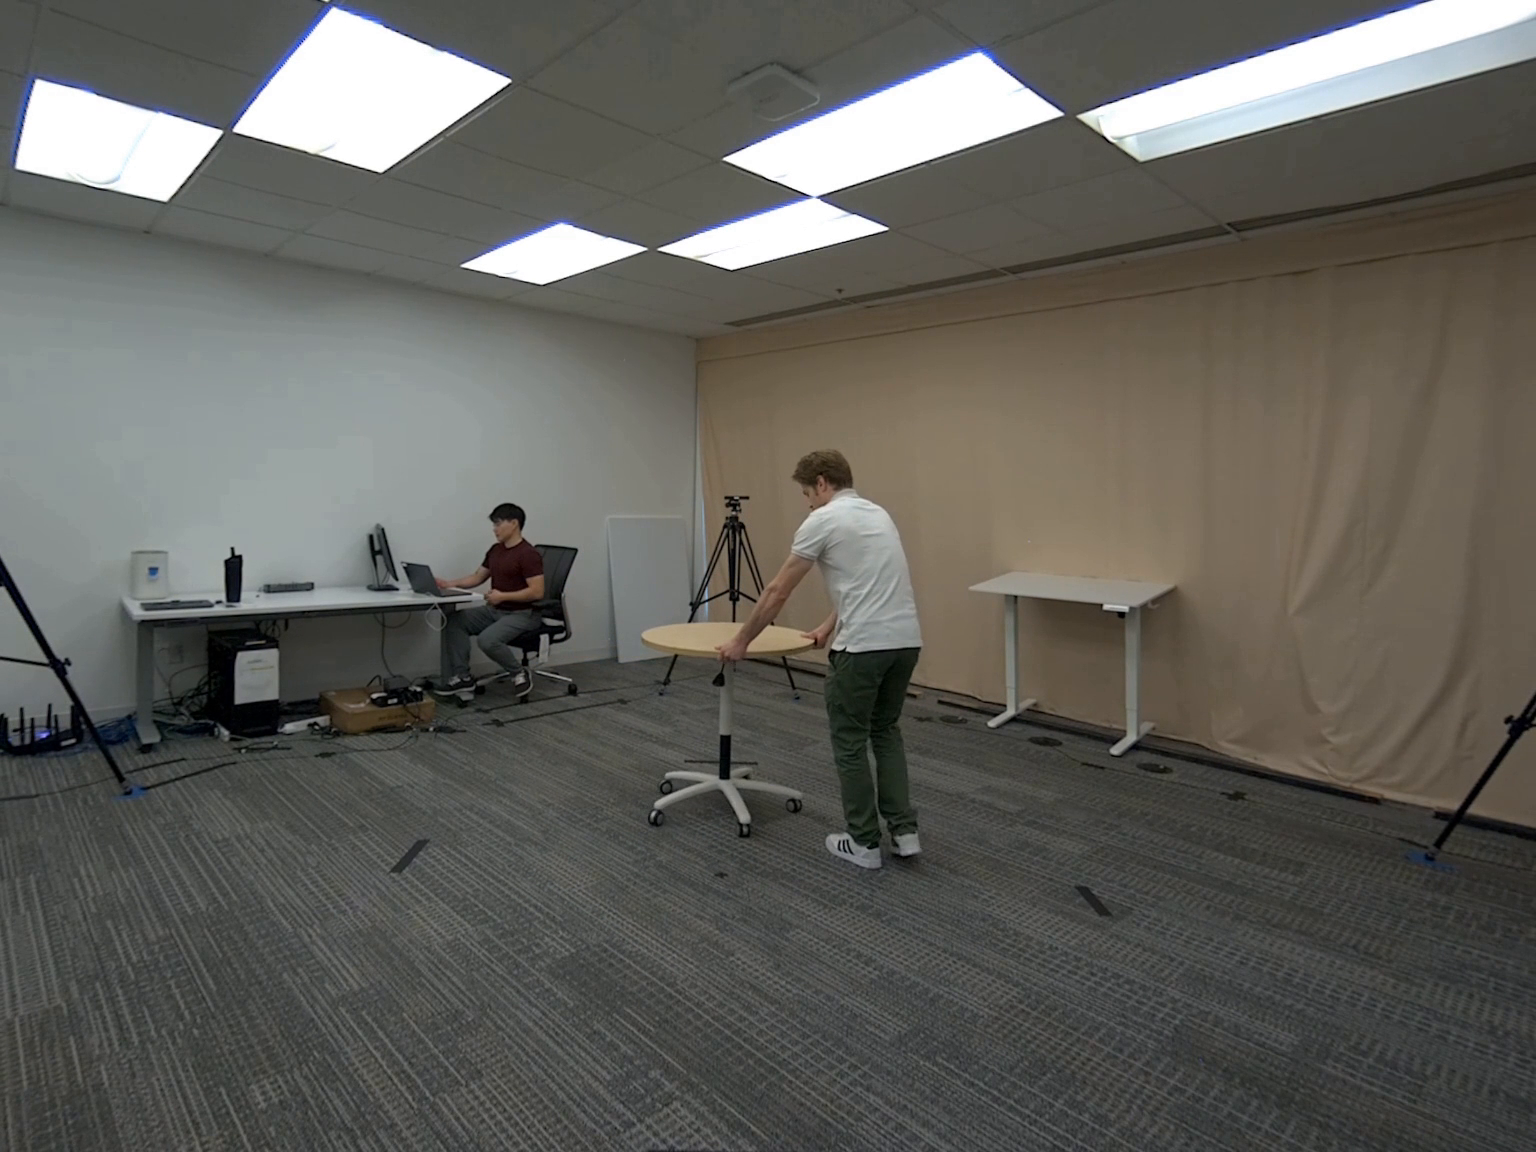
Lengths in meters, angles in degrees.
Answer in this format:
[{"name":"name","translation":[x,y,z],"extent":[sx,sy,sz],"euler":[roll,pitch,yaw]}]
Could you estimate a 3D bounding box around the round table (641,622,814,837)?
[{"name":"round table","translation":[-0.187,0.653,3.742],"extent":[0.784,0.784,0.788],"euler":[2,4,-1]}]
